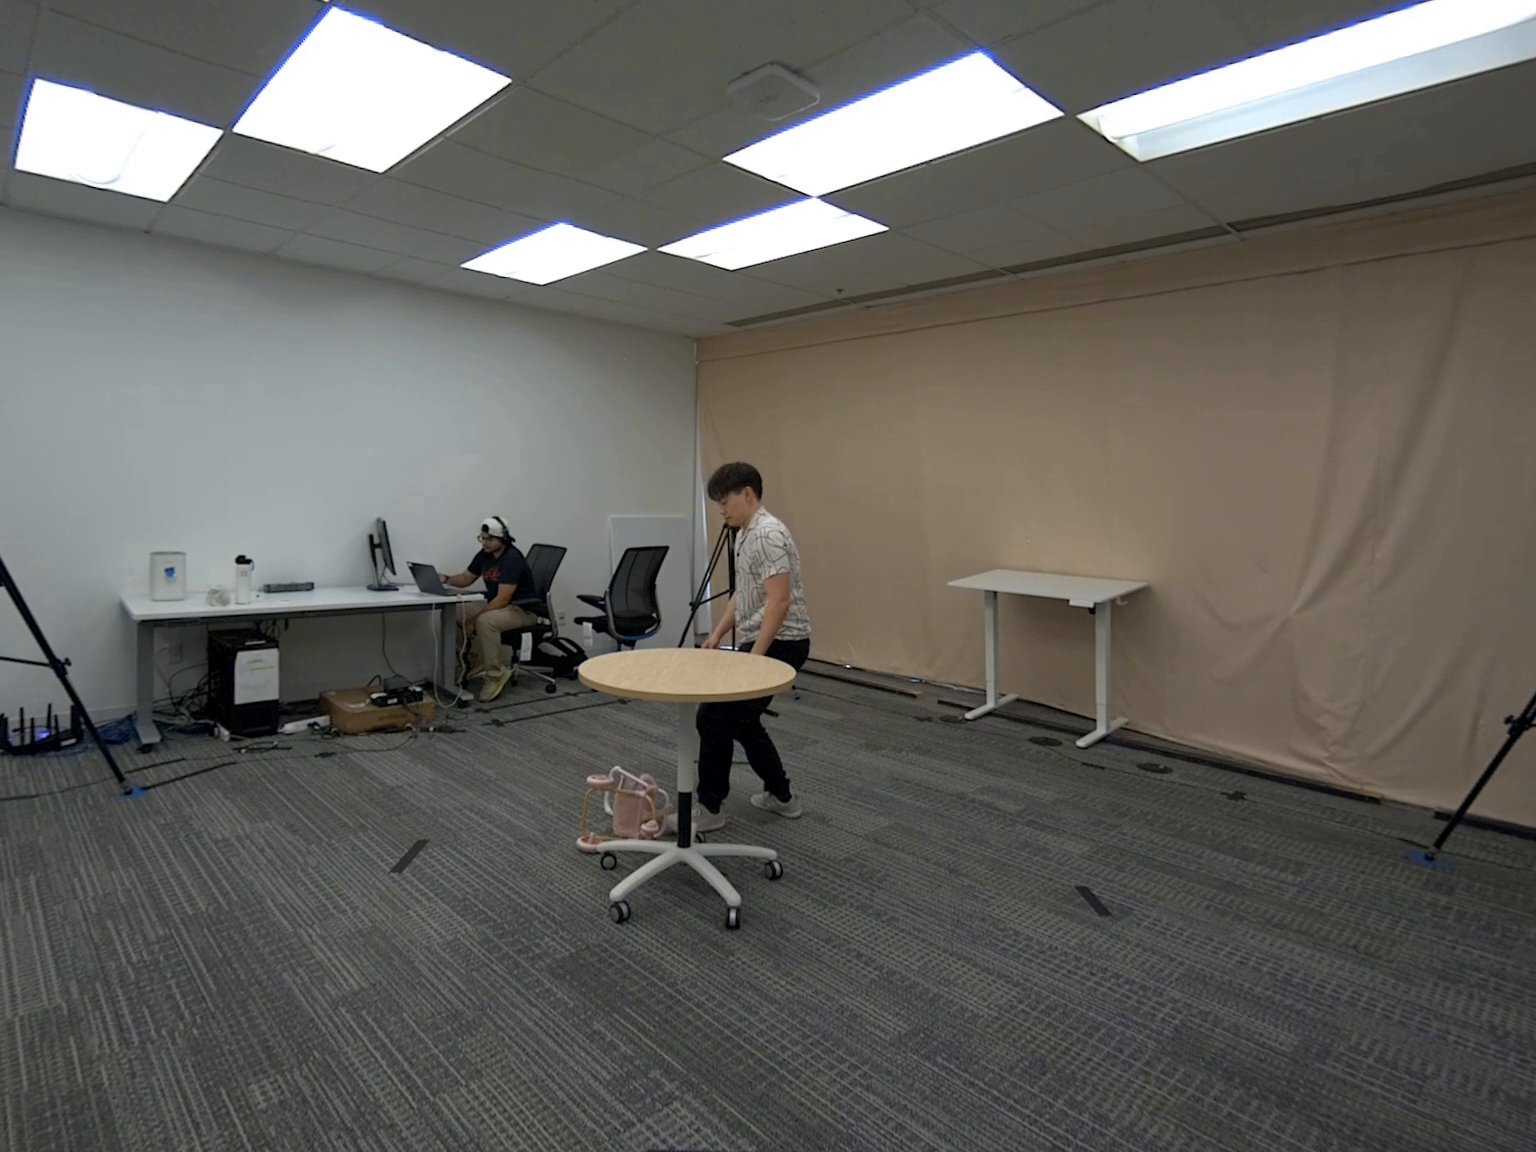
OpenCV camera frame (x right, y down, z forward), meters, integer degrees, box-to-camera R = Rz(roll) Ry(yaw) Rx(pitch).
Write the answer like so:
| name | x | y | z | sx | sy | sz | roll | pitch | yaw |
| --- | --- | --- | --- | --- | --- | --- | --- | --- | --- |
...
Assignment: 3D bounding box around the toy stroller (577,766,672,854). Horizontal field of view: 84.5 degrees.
| name | x | y | z | sx | sy | sz | roll | pitch | yaw |
| --- | --- | --- | --- | --- | --- | --- | --- | --- | --- |
| toy stroller | -0.550 | 0.934 | 3.440 | 0.343 | 0.282 | 0.531 | 4 | -2 | 6 |
